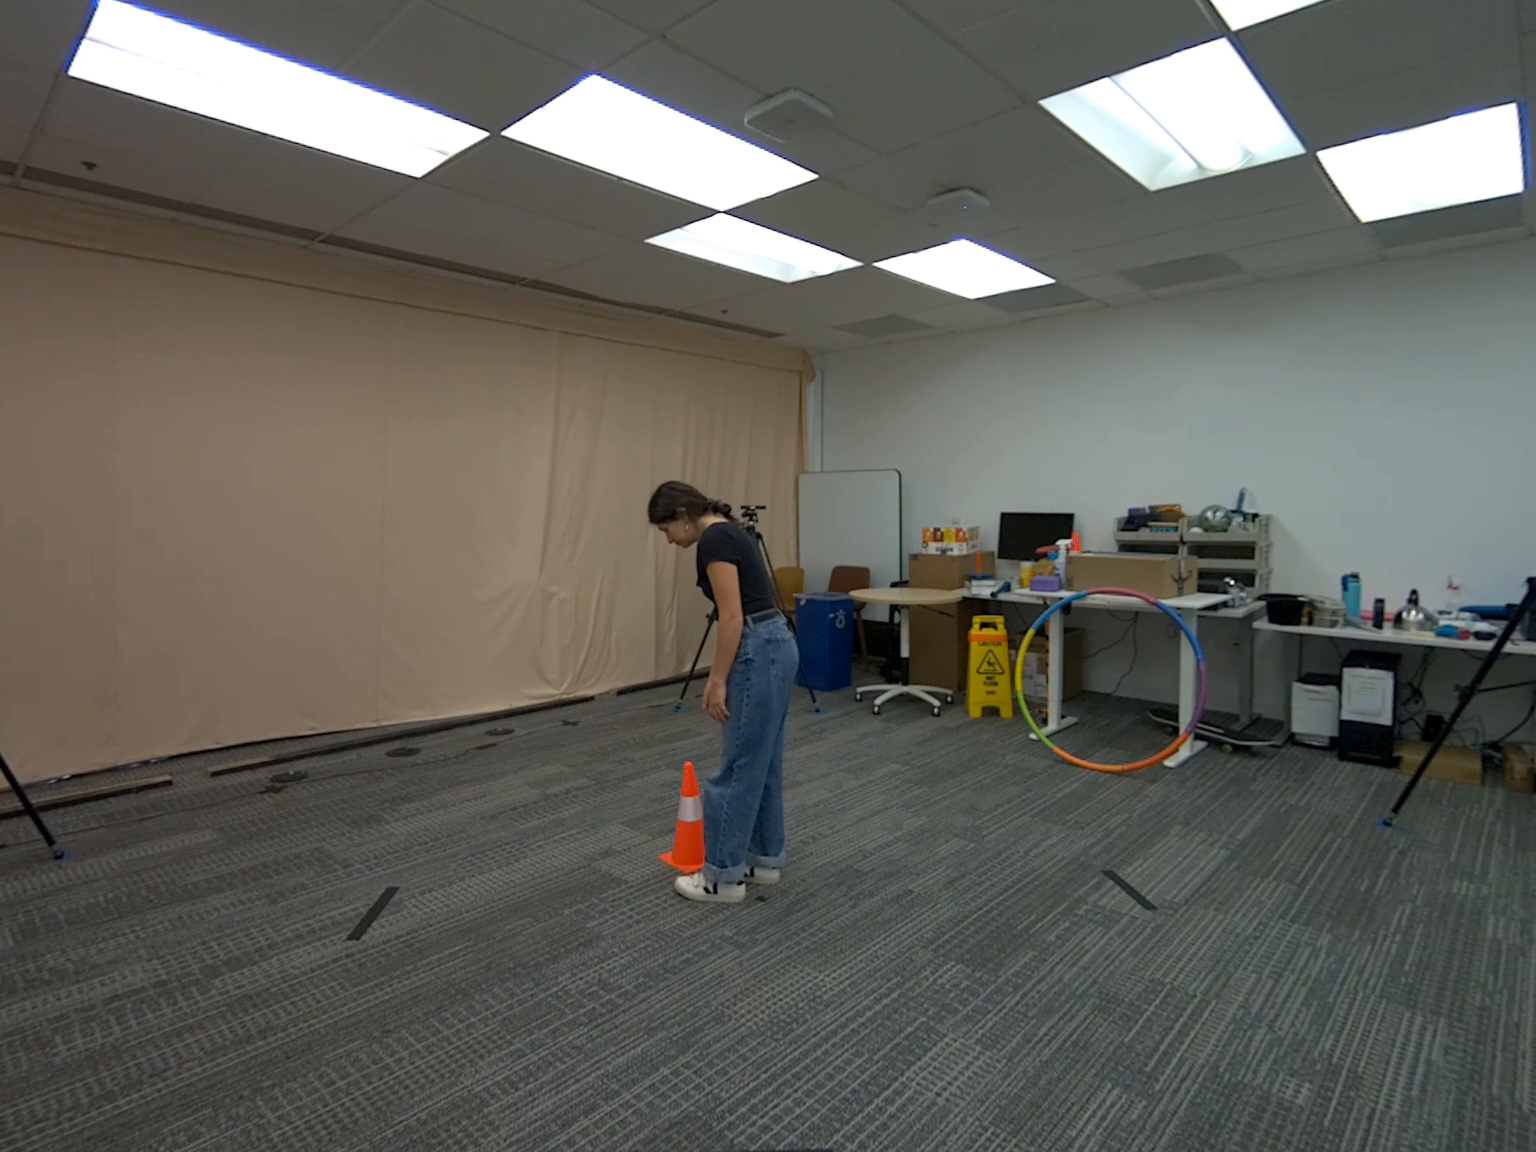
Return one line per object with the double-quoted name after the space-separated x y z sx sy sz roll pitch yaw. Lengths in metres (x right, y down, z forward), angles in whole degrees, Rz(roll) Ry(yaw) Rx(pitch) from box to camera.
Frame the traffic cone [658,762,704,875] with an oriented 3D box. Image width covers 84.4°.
-0.306 0.930 3.320 0.197 0.383 0.211 -4 3 -44 "traffic cone"
